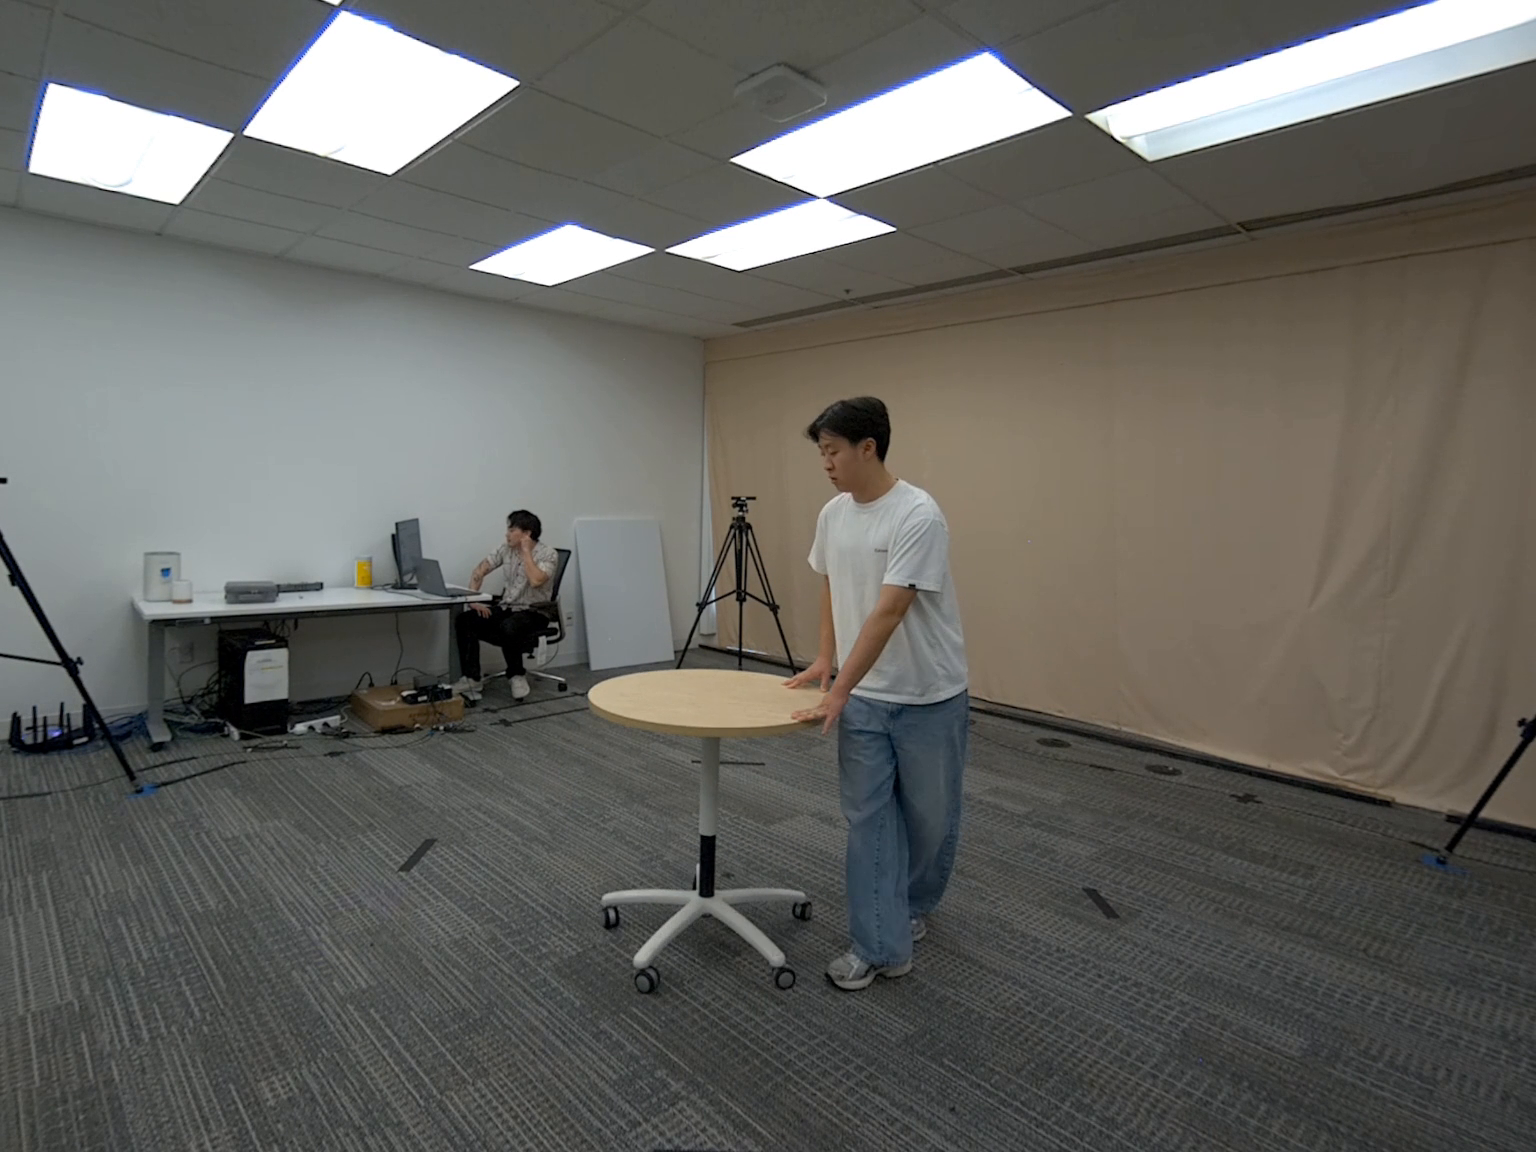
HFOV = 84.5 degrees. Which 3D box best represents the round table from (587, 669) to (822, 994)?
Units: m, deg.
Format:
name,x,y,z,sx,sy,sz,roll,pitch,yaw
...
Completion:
name,x,y,z,sx,sy,sz,roll,pitch,yaw
round table,-0.184,0.759,2.642,0.763,0.792,0.767,2,4,-1
